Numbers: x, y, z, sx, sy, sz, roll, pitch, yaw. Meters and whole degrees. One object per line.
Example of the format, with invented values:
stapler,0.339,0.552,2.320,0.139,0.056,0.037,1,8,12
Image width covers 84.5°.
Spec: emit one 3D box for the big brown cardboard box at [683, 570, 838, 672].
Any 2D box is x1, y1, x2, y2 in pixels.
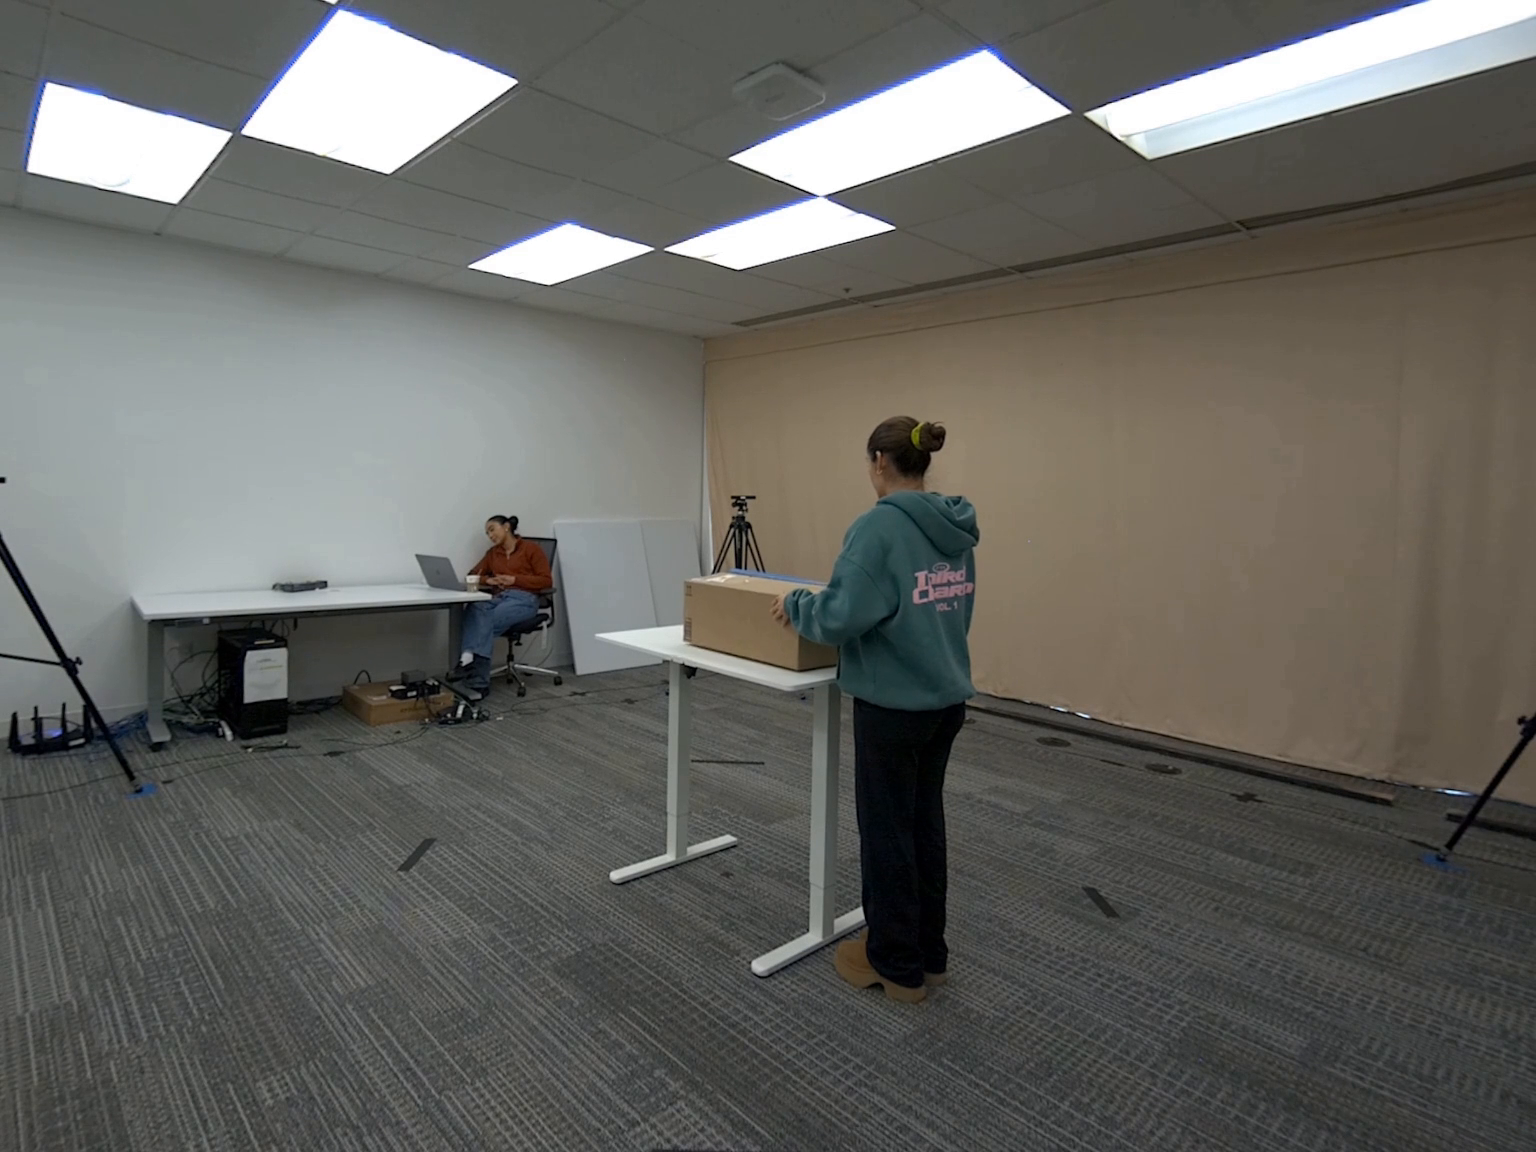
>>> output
big brown cardboard box,0.045,0.134,2.811,0.408,0.232,0.604,-3,8,-41
